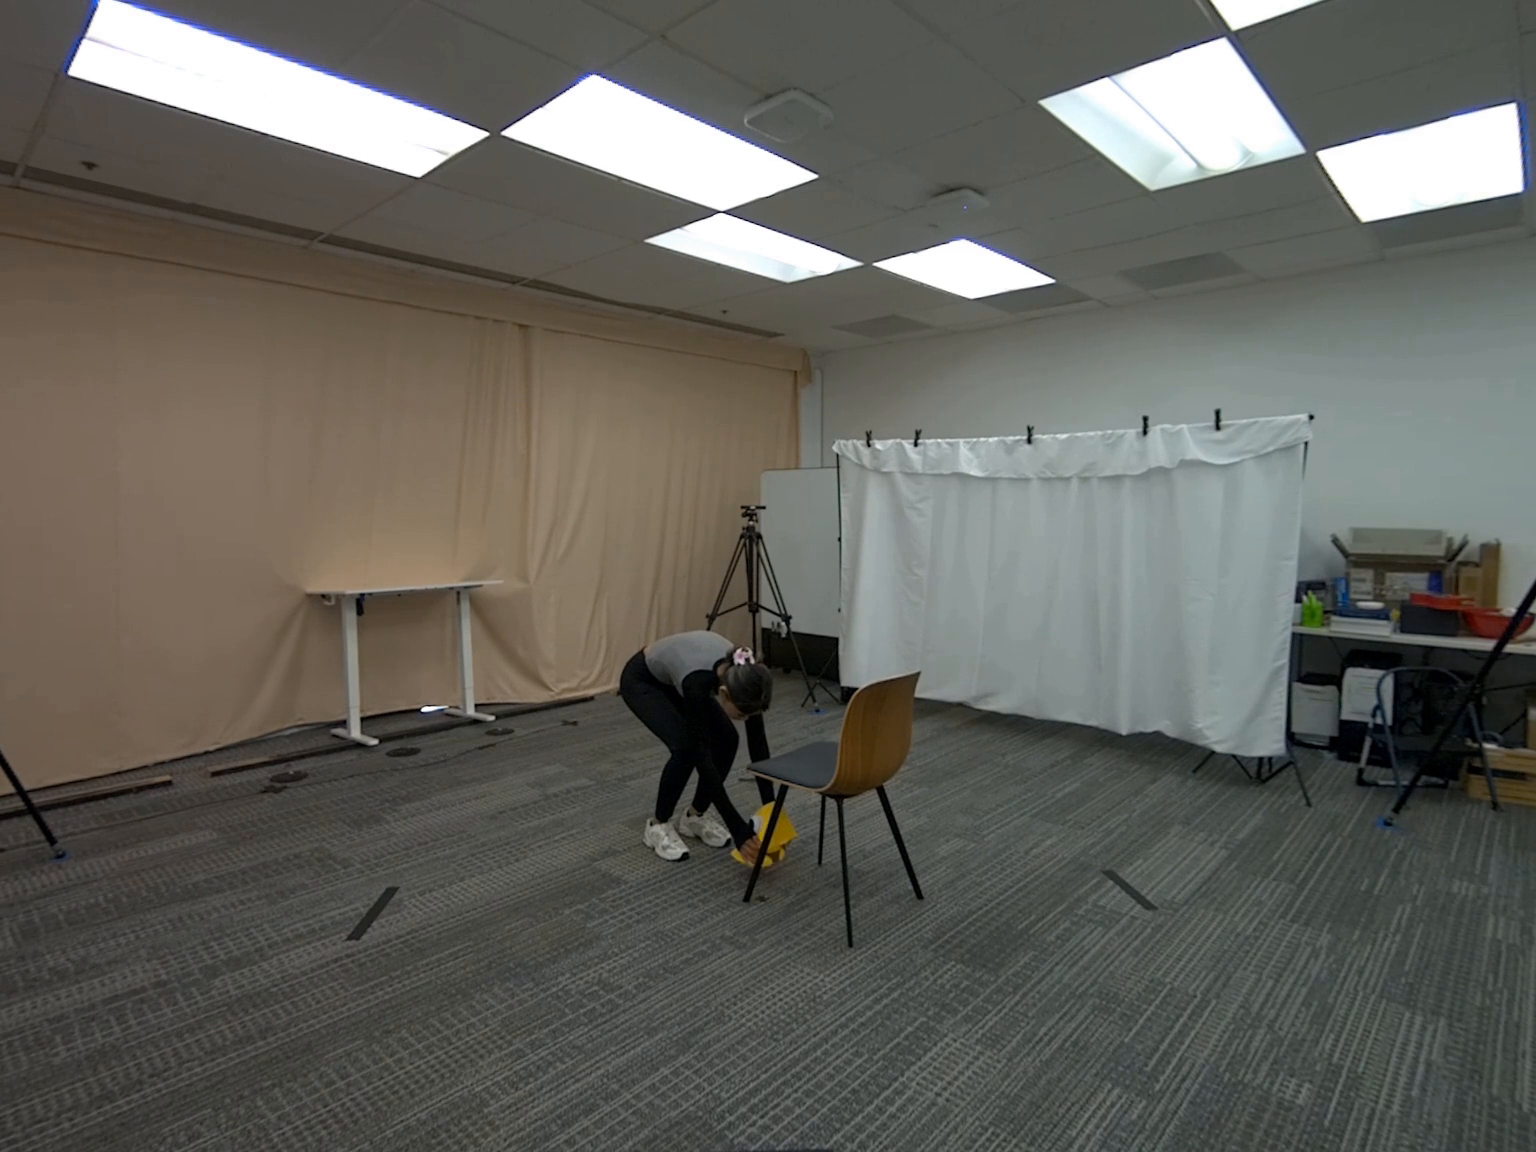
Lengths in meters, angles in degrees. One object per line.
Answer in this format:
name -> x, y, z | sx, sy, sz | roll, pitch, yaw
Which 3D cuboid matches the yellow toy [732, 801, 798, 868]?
yellow toy -> -0.018, 0.936, 3.150 | 0.199, 0.230, 0.198 | 6, 2, 34
